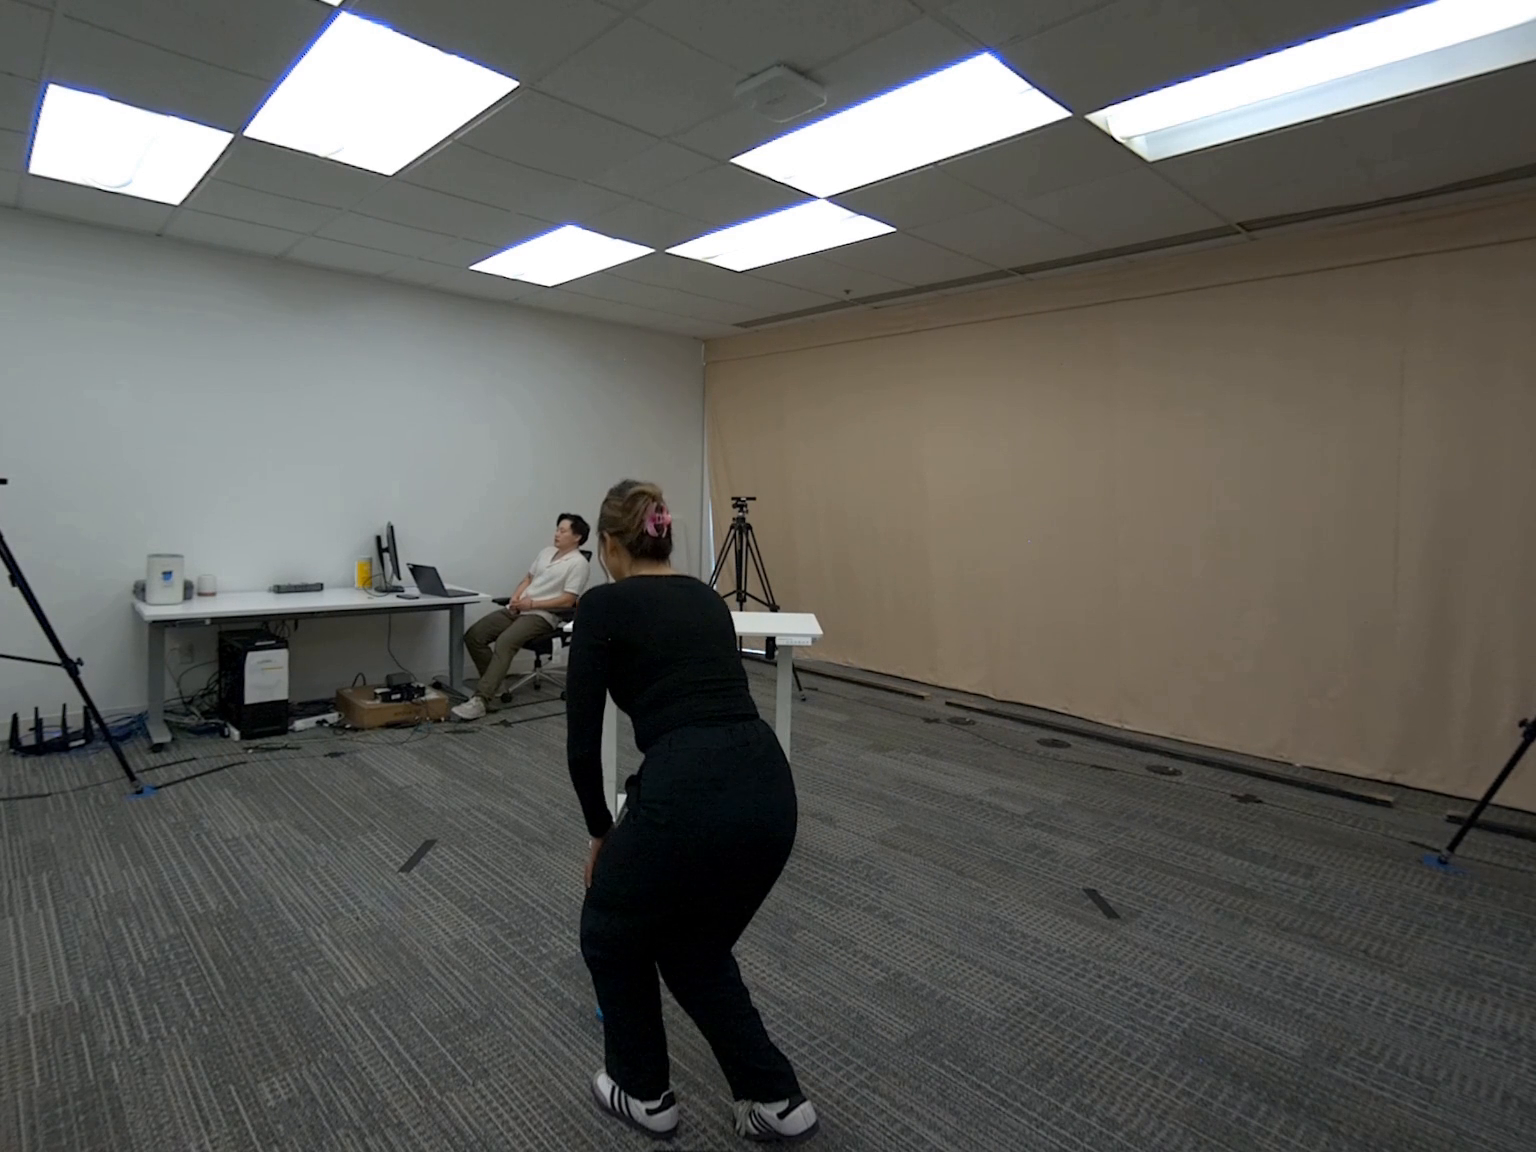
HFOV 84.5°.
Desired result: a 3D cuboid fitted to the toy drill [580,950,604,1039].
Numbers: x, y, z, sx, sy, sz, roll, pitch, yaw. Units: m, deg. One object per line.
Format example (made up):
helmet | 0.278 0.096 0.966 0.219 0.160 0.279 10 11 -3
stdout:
toy drill | -0.452 1.111 2.270 0.060 0.145 0.173 -1 5 -26
